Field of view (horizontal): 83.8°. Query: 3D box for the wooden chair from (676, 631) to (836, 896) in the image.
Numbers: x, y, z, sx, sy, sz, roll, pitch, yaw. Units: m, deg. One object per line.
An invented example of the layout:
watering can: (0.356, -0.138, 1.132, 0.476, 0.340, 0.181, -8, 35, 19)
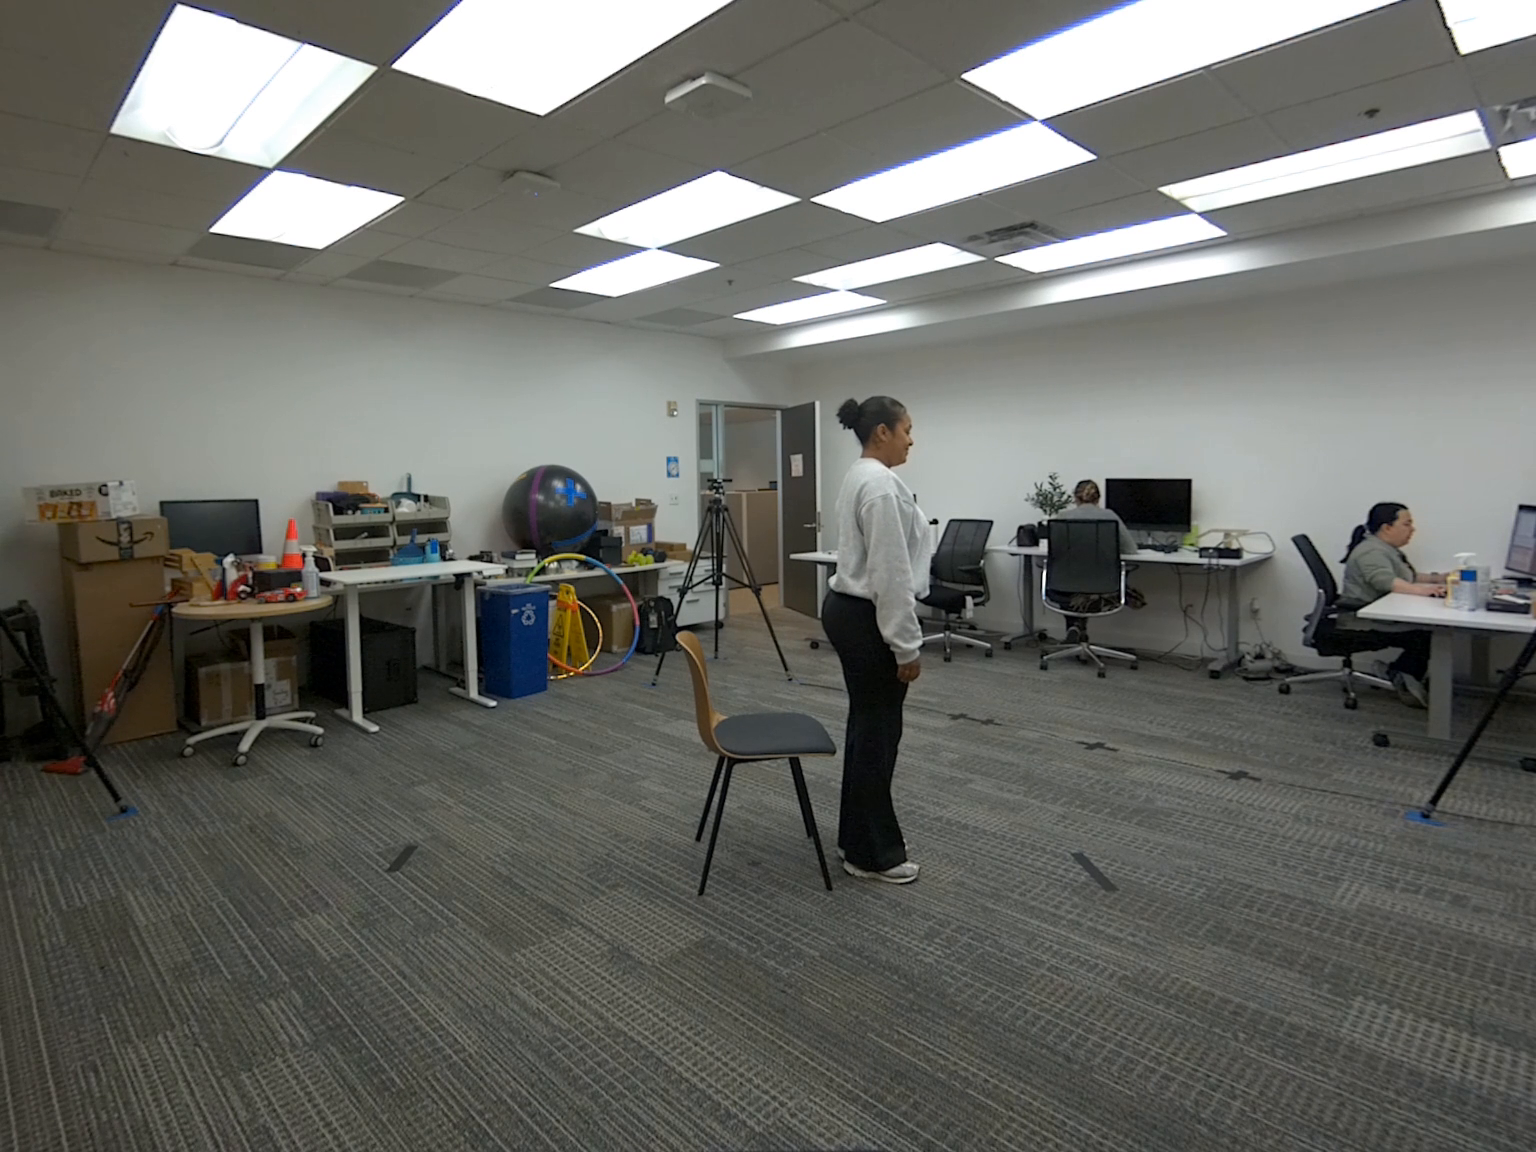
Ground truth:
wooden chair: (-0.030, 0.618, 3.070, 0.521, 0.874, 0.481, -5, 4, -5)
